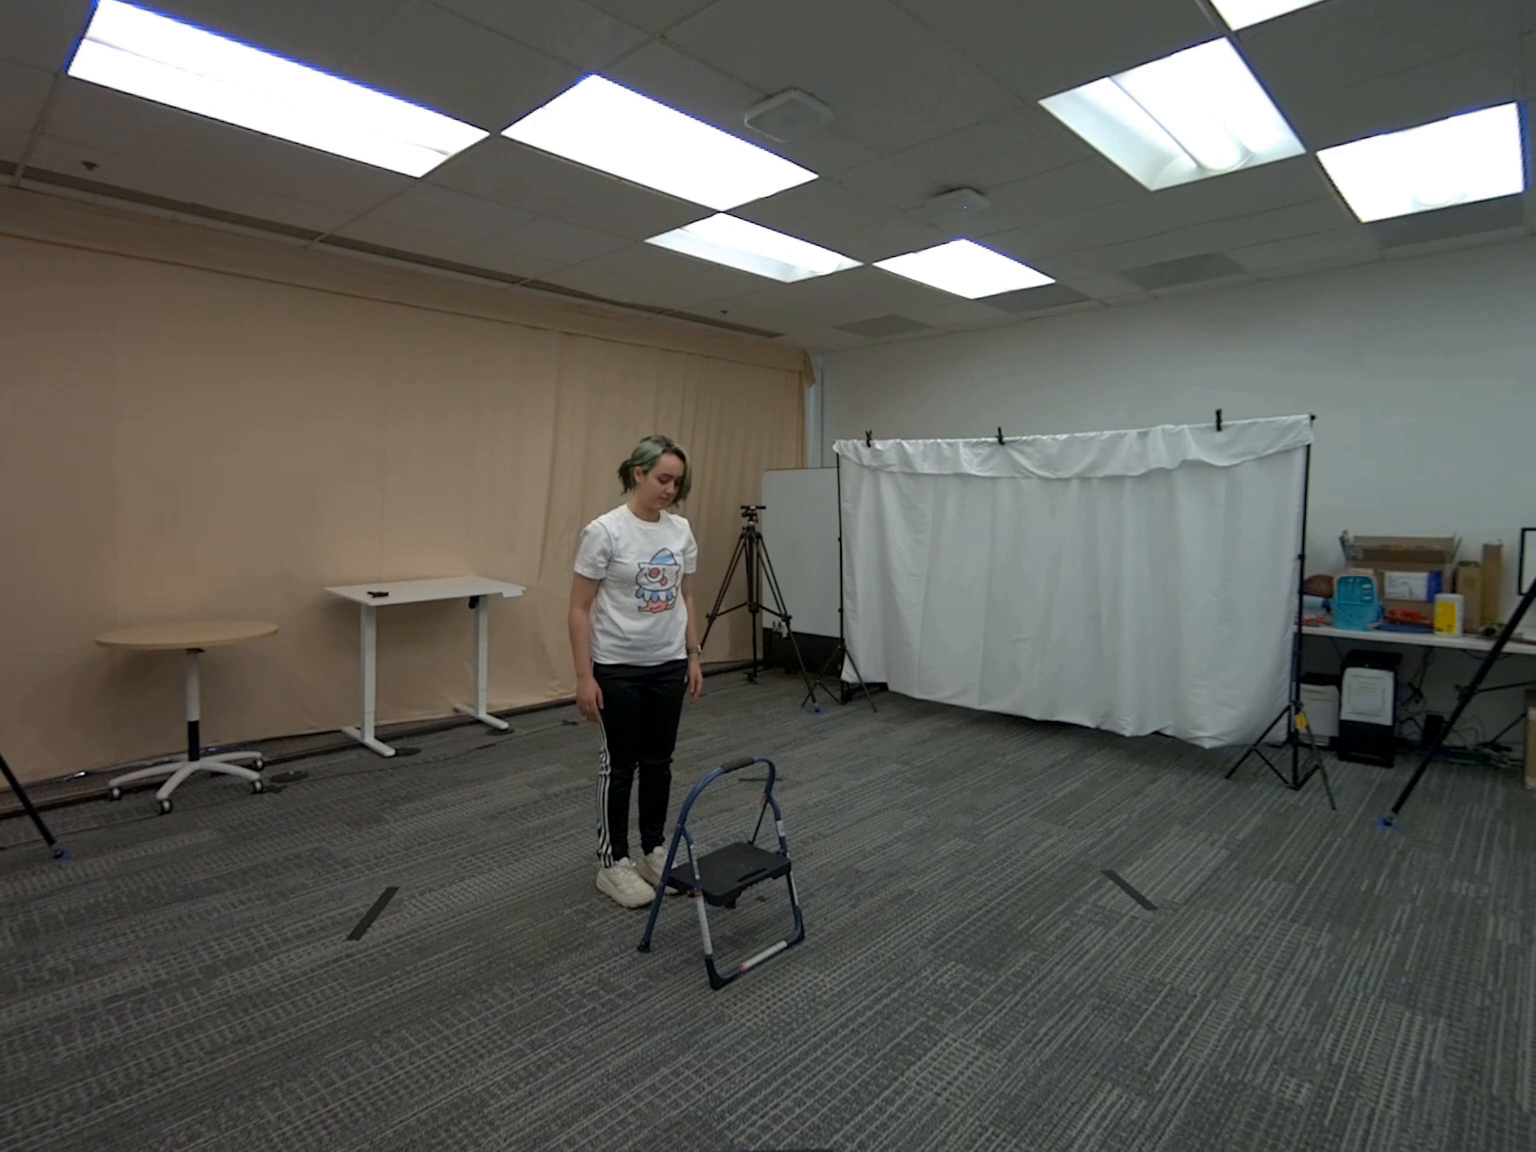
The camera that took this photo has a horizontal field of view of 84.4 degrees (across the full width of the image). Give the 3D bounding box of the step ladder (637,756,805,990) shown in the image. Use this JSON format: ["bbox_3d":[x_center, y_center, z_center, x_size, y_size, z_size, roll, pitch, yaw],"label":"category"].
[{"bbox_3d":[-0.141,0.868,2.665,0.361,0.605,0.417,2,4,42],"label":"step ladder"}]
